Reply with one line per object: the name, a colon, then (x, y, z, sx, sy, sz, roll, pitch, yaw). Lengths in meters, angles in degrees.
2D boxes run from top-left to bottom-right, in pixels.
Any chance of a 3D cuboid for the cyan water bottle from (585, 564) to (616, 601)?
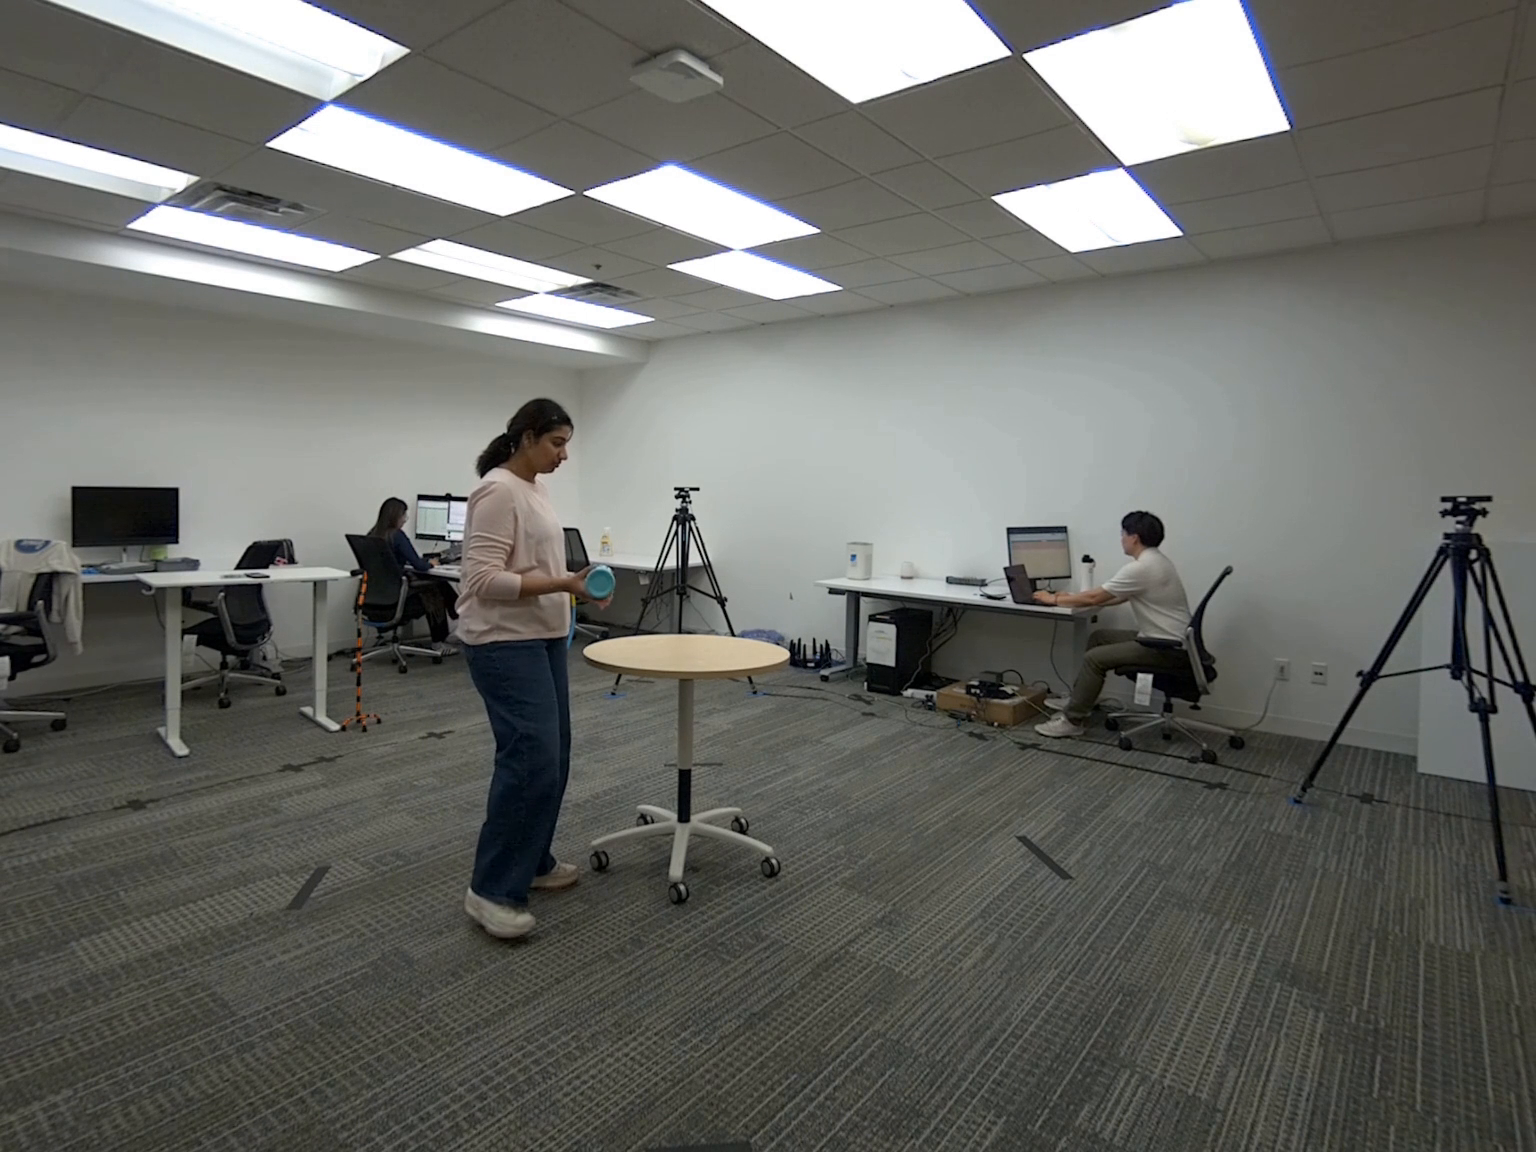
cyan water bottle: (-0.550, 0.022, 2.705, 0.091, 0.092, 0.286, 0, 1, -11)
